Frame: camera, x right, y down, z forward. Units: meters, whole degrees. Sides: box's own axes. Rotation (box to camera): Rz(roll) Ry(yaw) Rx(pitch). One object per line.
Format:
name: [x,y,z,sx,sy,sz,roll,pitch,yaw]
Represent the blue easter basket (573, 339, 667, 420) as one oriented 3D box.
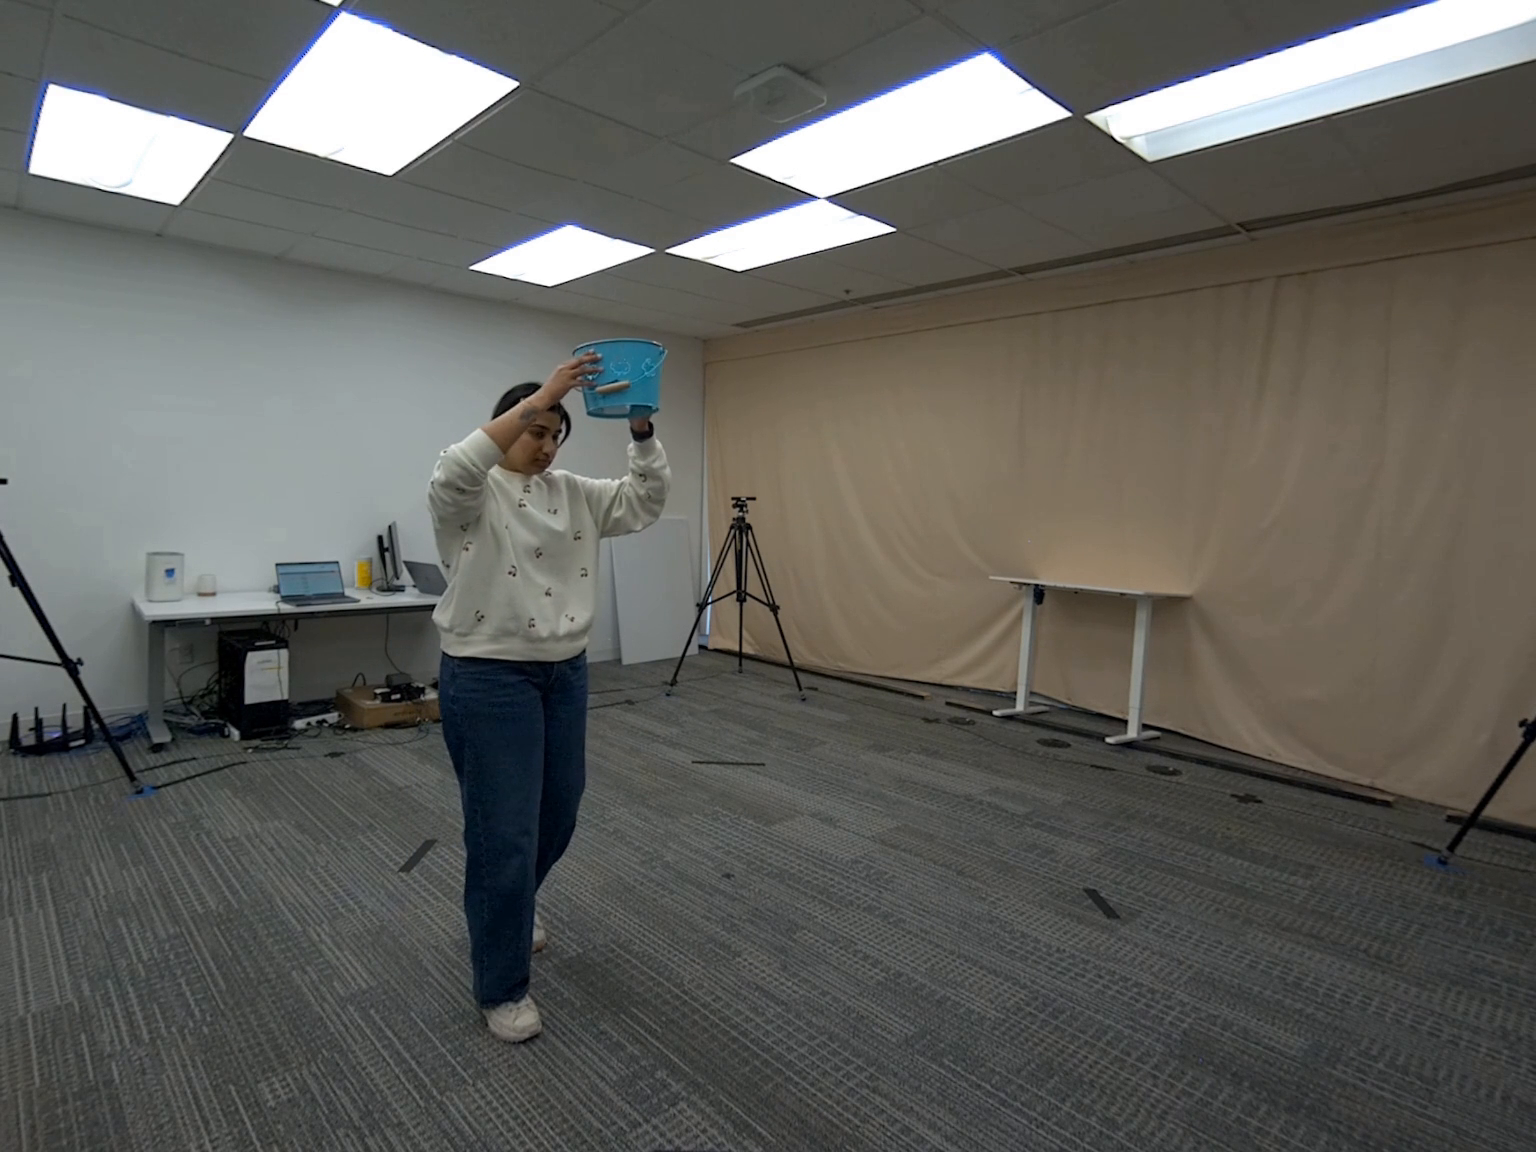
blue easter basket: [-0.381,-0.481,2.085,0.243,0.156,0.243,-4,-1,-1]
